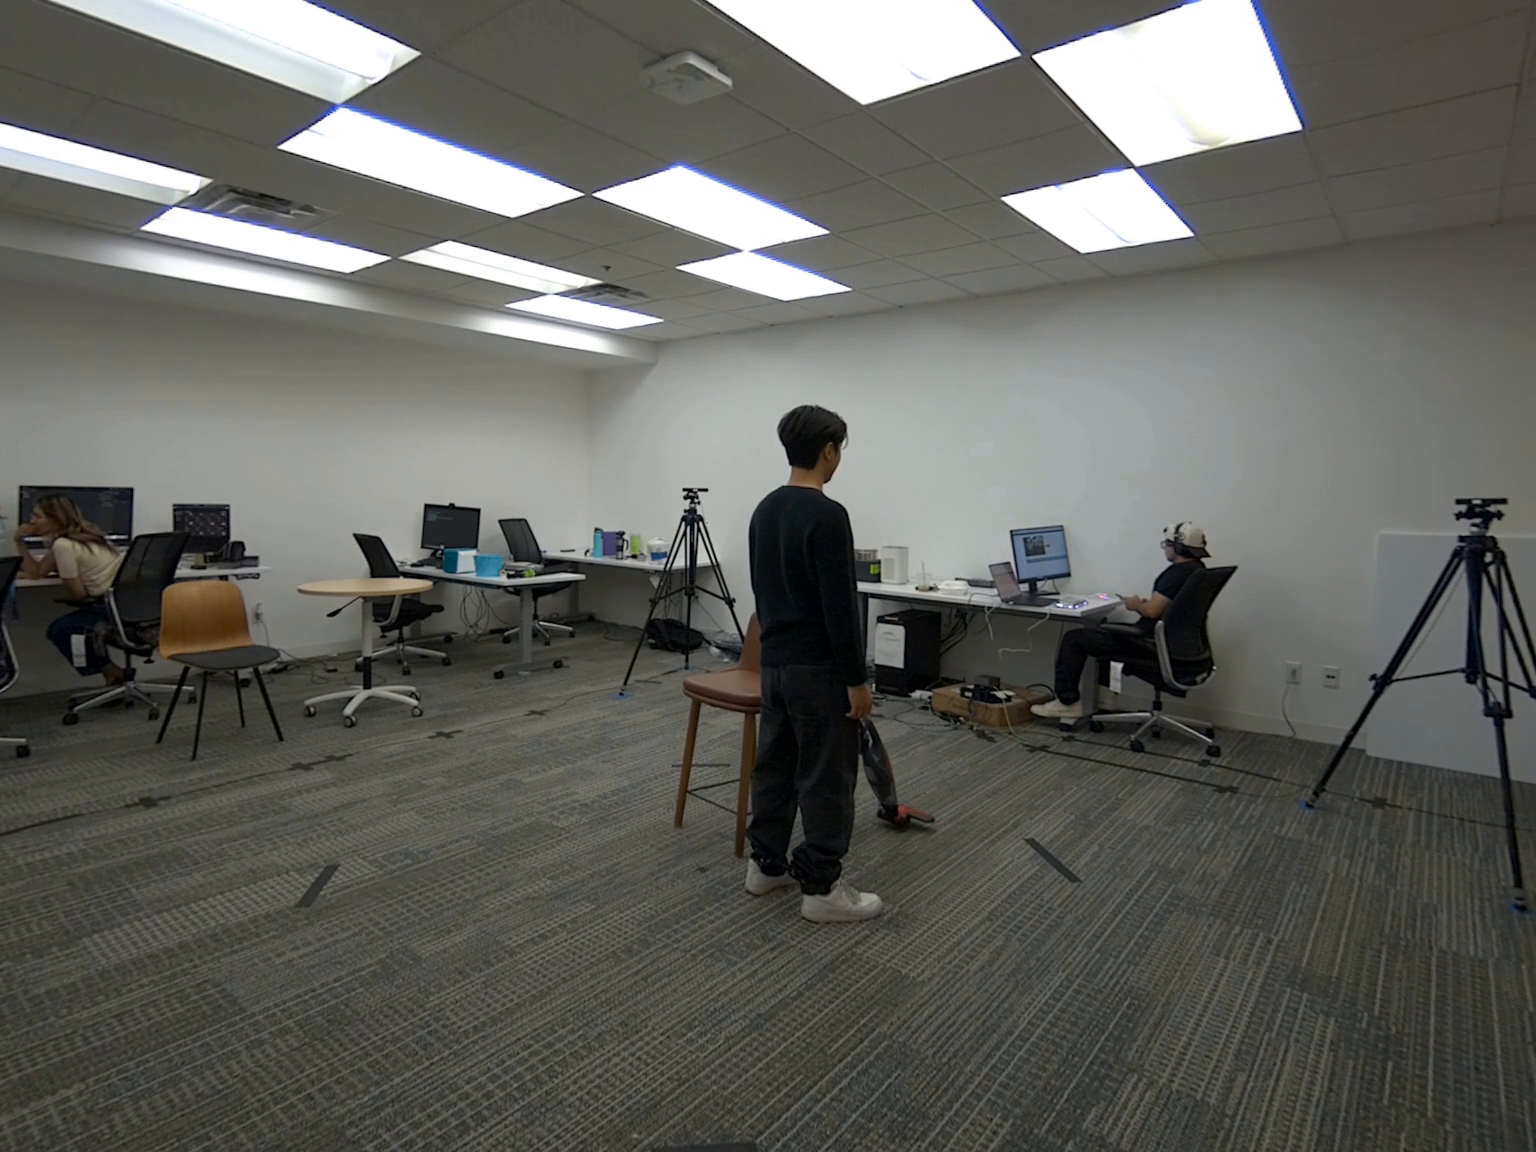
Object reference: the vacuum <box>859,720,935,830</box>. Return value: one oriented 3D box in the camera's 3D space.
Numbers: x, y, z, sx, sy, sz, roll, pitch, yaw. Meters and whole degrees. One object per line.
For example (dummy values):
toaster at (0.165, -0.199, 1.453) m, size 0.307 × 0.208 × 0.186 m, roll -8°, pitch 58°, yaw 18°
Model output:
vacuum at (0.375, 0.601, 3.357) m, size 0.261 × 1.017 × 0.143 m, roll 9°, pitch 42°, yaw 48°
